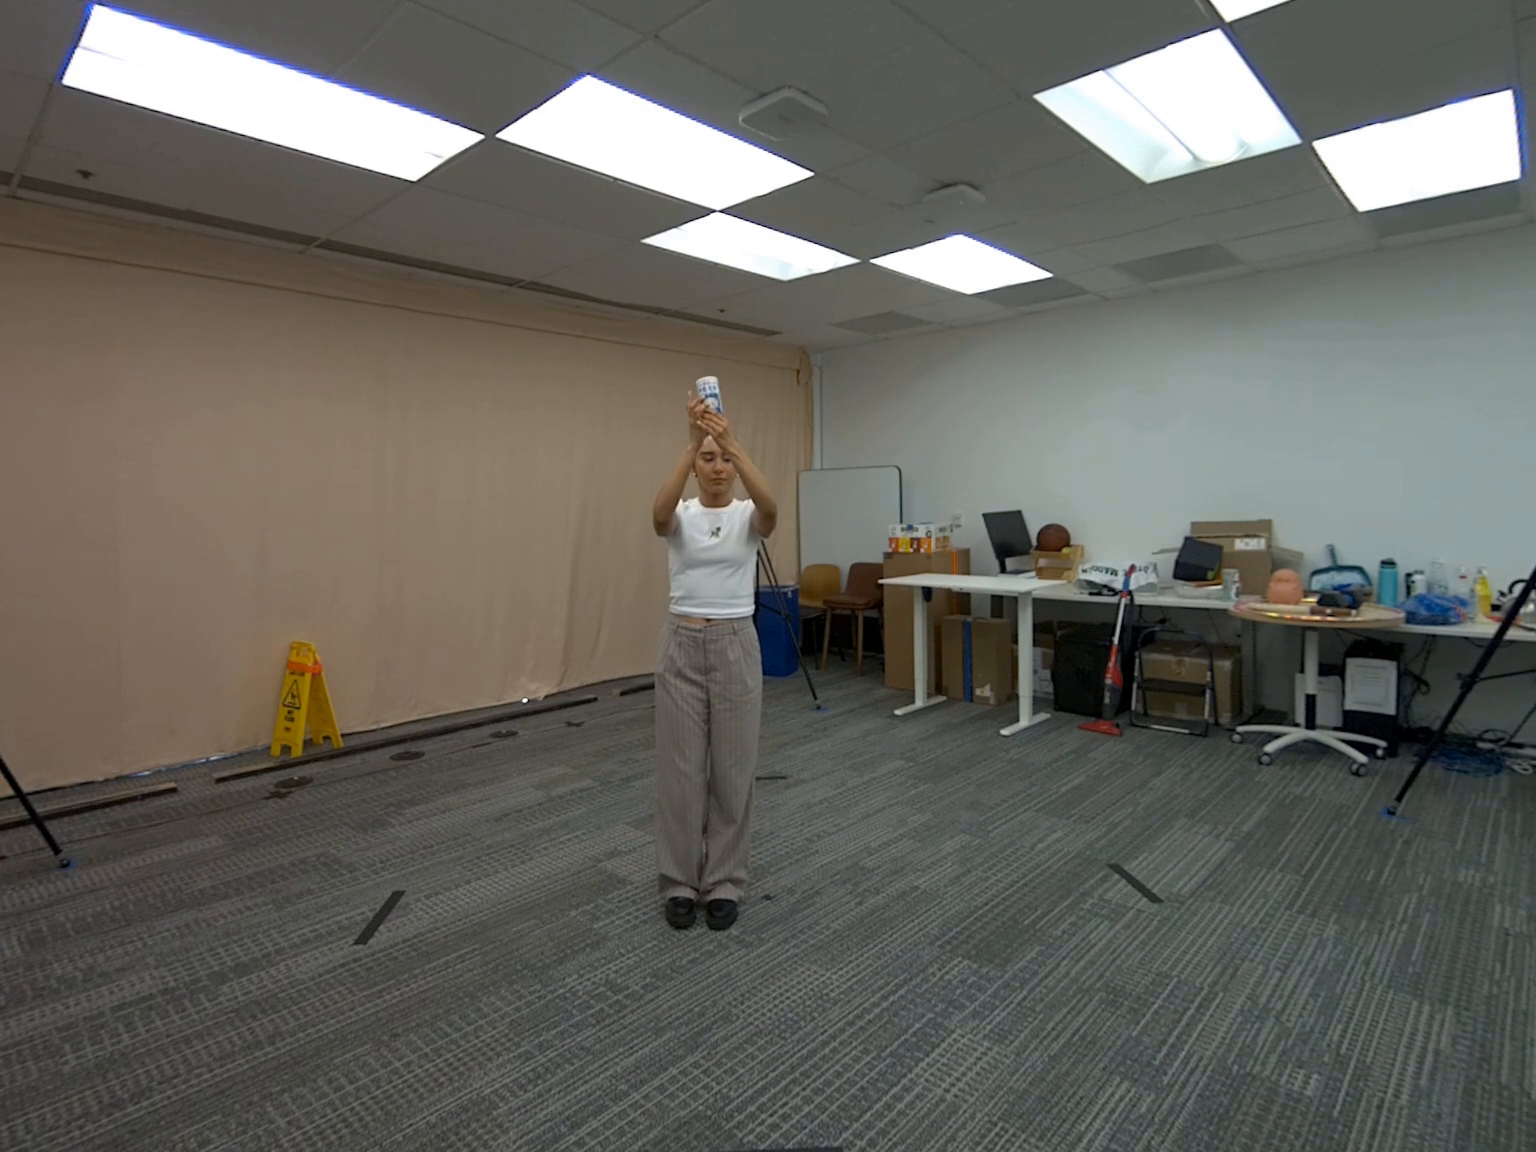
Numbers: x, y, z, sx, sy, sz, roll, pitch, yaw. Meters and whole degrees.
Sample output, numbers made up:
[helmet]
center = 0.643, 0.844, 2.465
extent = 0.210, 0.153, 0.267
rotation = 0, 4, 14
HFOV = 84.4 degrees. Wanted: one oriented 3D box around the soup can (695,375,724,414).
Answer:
[soup can]
center = -0.171, -0.523, 2.519
extent = 0.067, 0.121, 0.067
rotation = -9, 0, -2
